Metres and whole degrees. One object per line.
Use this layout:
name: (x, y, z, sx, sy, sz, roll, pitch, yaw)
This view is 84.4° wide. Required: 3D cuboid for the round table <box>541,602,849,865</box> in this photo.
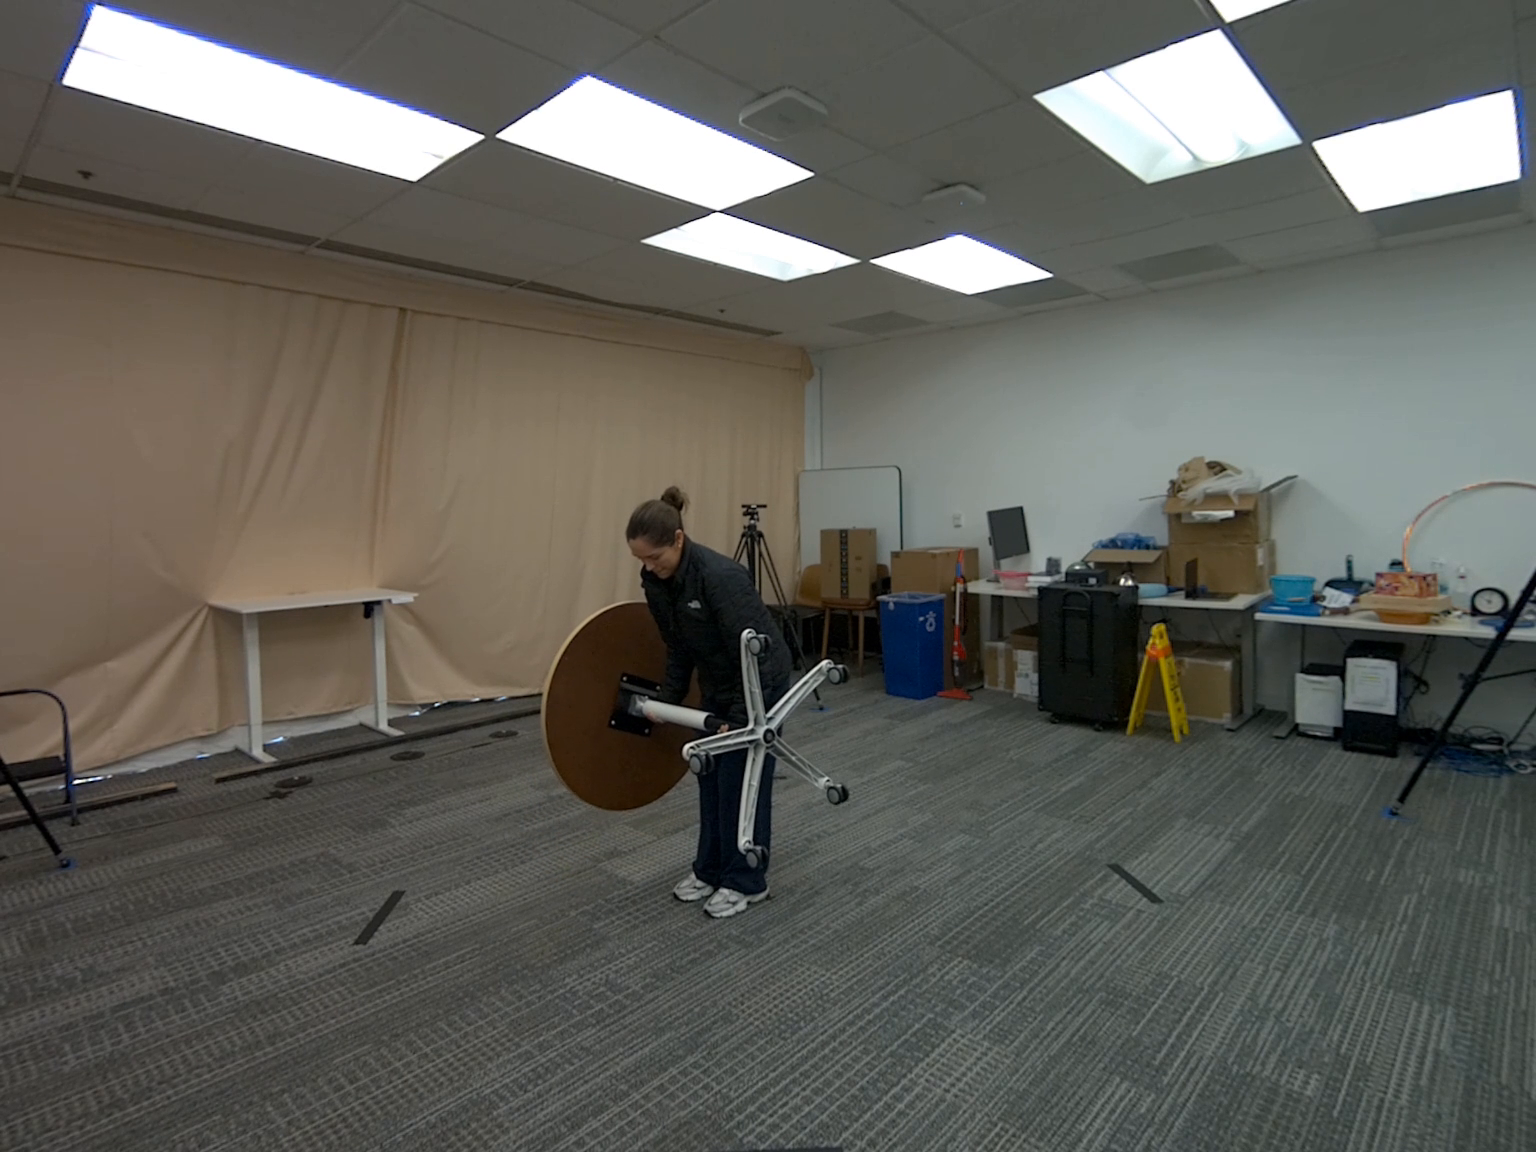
round table: (-0.202, 0.499, 2.841, 0.812, 0.784, 0.761, 1, 4, 45)
